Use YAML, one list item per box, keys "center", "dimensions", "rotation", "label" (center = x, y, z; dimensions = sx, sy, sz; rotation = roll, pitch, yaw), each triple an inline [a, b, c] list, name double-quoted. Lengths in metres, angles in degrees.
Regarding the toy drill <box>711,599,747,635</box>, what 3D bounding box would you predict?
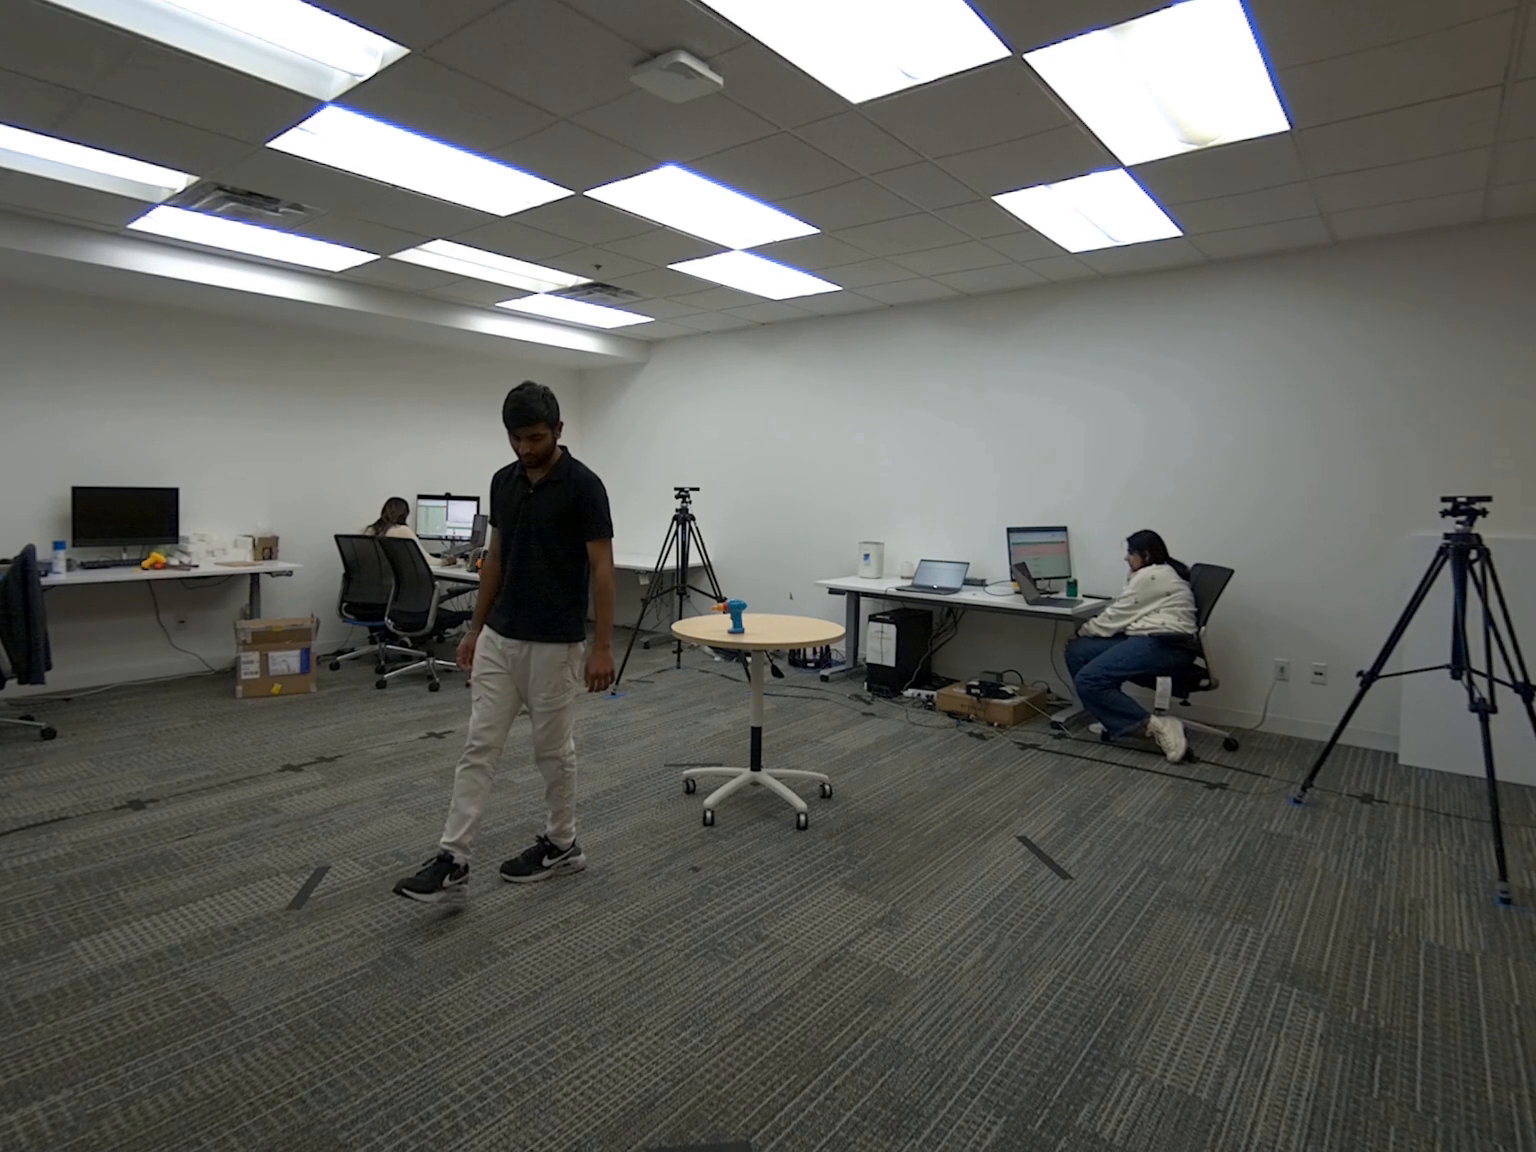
- center: [-0.180, 0.167, 3.589]
  dimensions: [0.166, 0.145, 0.063]
  rotation: [-1, 4, -24]
  label: "toy drill"
